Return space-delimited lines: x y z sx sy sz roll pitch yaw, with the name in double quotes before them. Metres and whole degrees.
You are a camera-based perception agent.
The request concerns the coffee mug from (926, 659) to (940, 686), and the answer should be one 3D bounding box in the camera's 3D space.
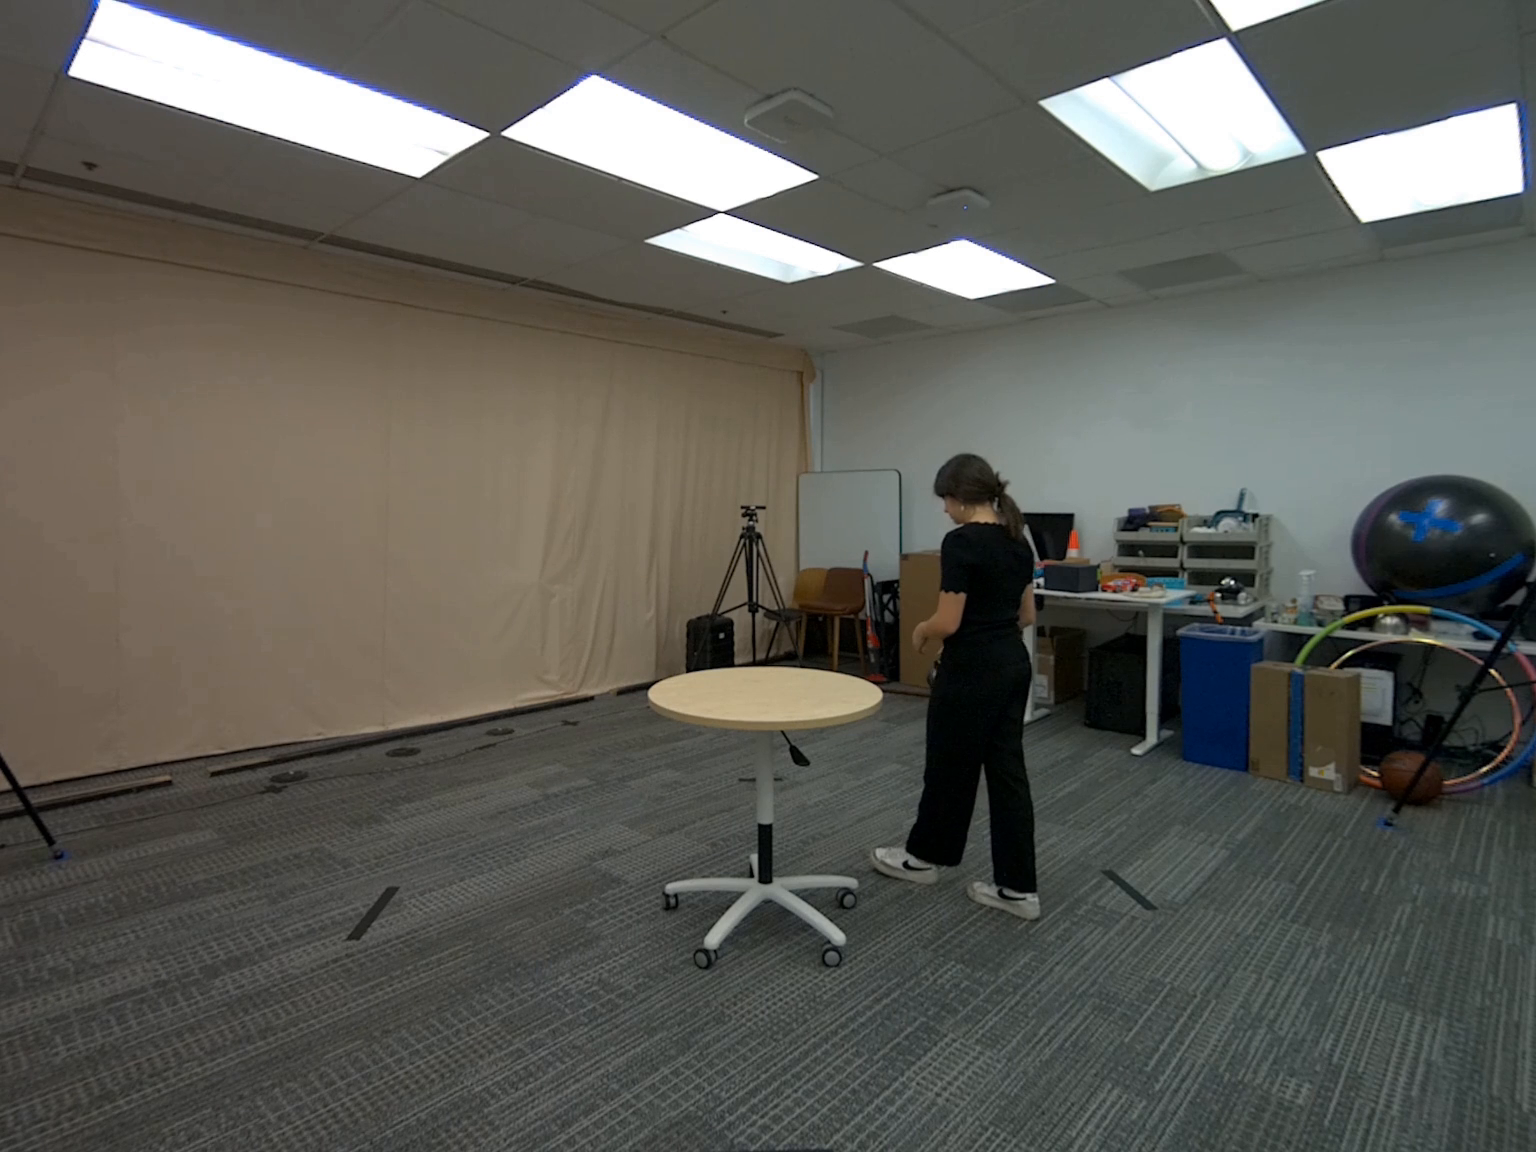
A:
"coffee mug" 0.706 0.371 3.172 0.087 0.120 0.209 -37 20 -32
